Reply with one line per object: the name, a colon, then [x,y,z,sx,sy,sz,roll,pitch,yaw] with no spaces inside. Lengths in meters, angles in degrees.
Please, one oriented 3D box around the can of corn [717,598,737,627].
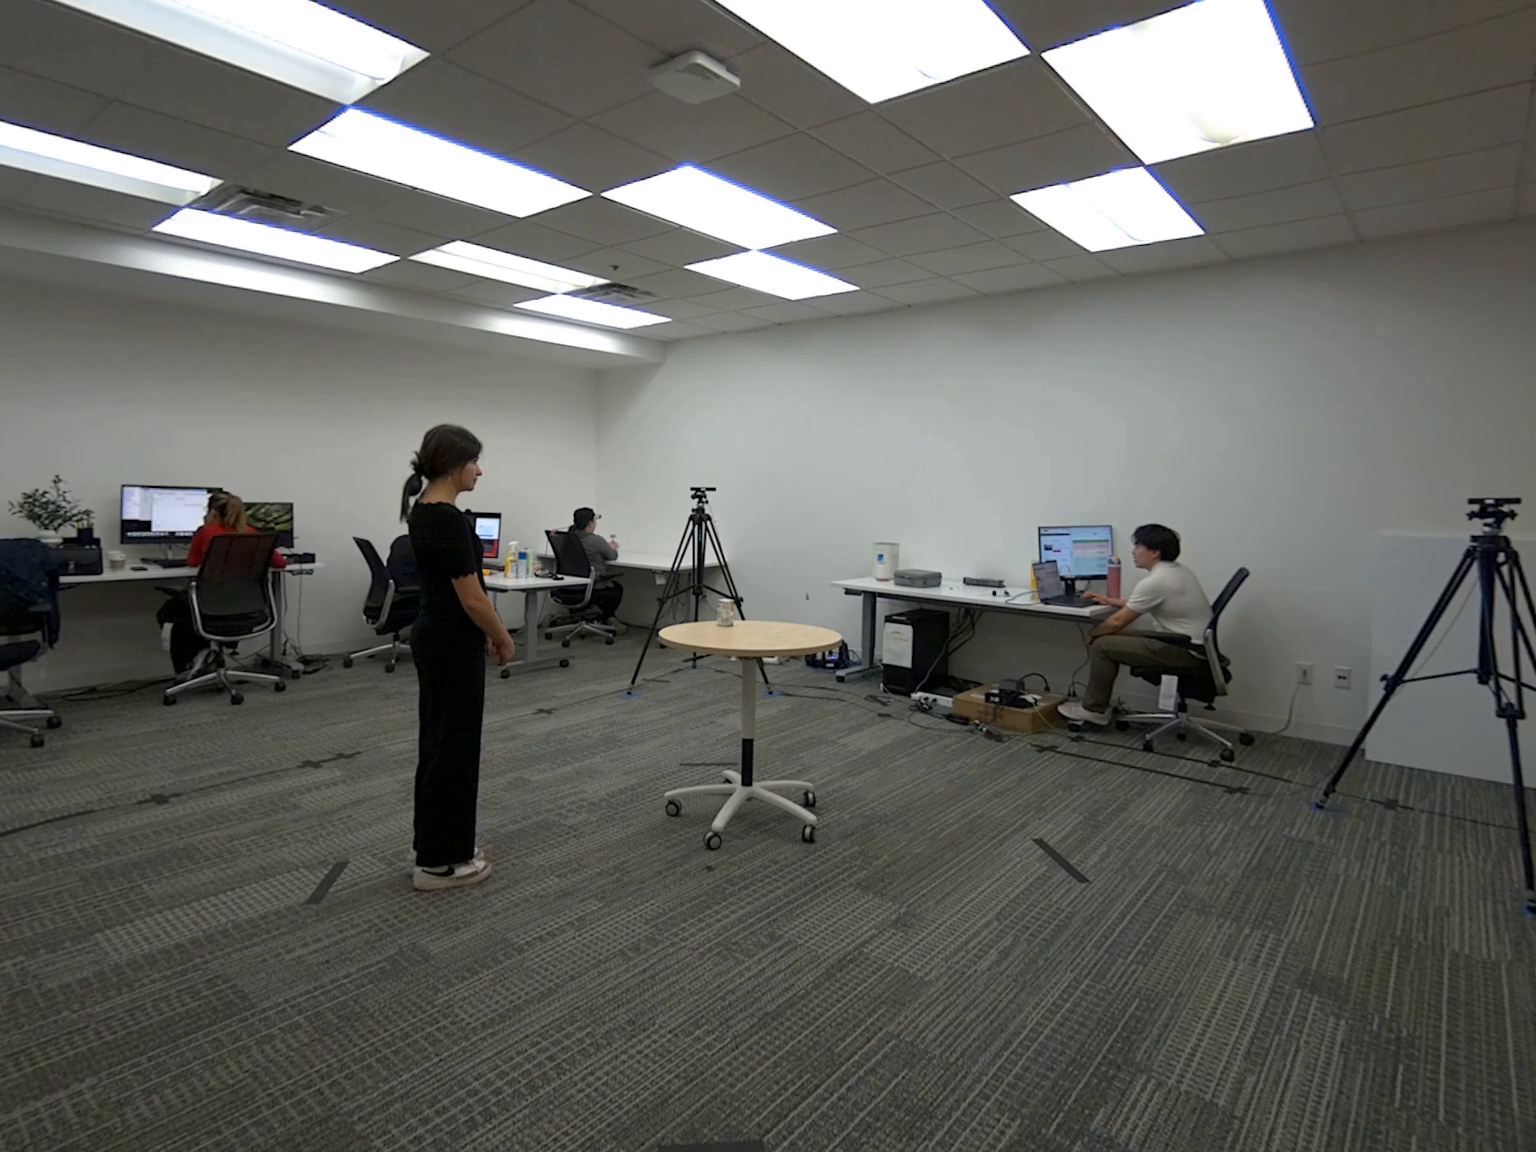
can of corn: [-0.203,0.162,3.792,0.074,0.111,0.074,2,1,-2]
